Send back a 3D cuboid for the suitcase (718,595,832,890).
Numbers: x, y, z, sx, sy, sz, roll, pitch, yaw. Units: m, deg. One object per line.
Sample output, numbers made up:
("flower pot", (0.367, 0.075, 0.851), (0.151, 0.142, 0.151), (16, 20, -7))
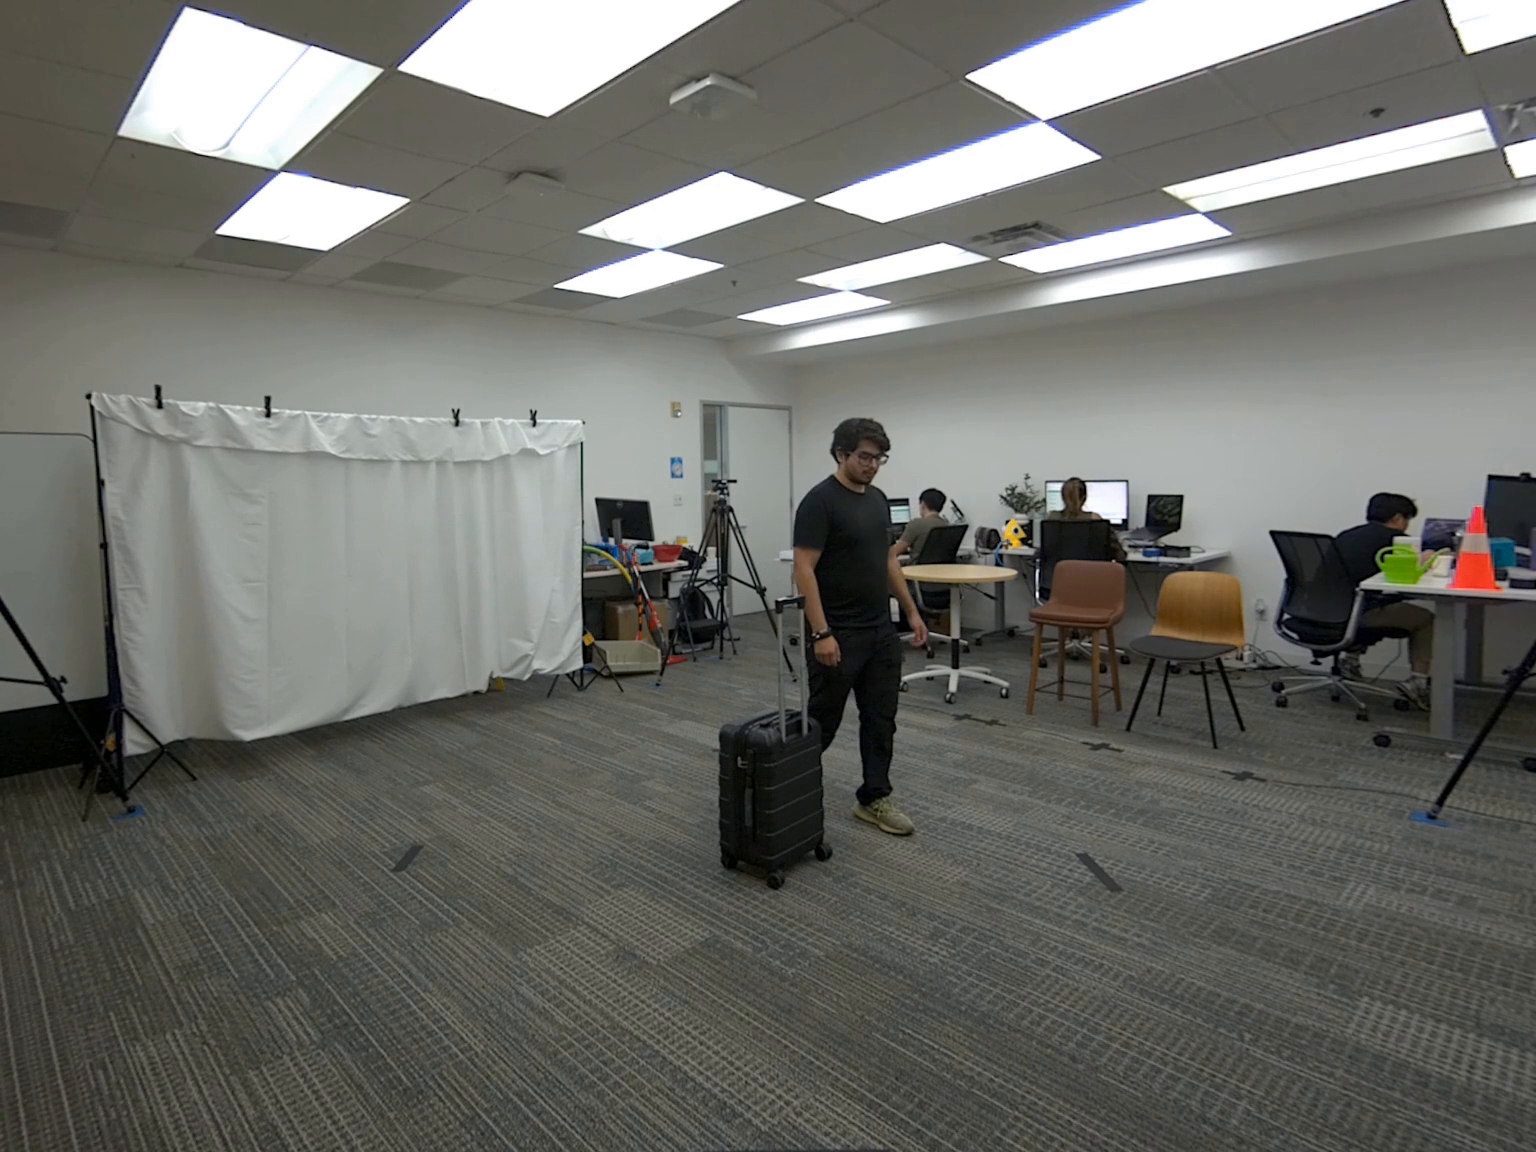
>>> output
("suitcase", (0.004, 0.570, 3.088), (0.264, 0.976, 0.374), (-1, 3, 40))
